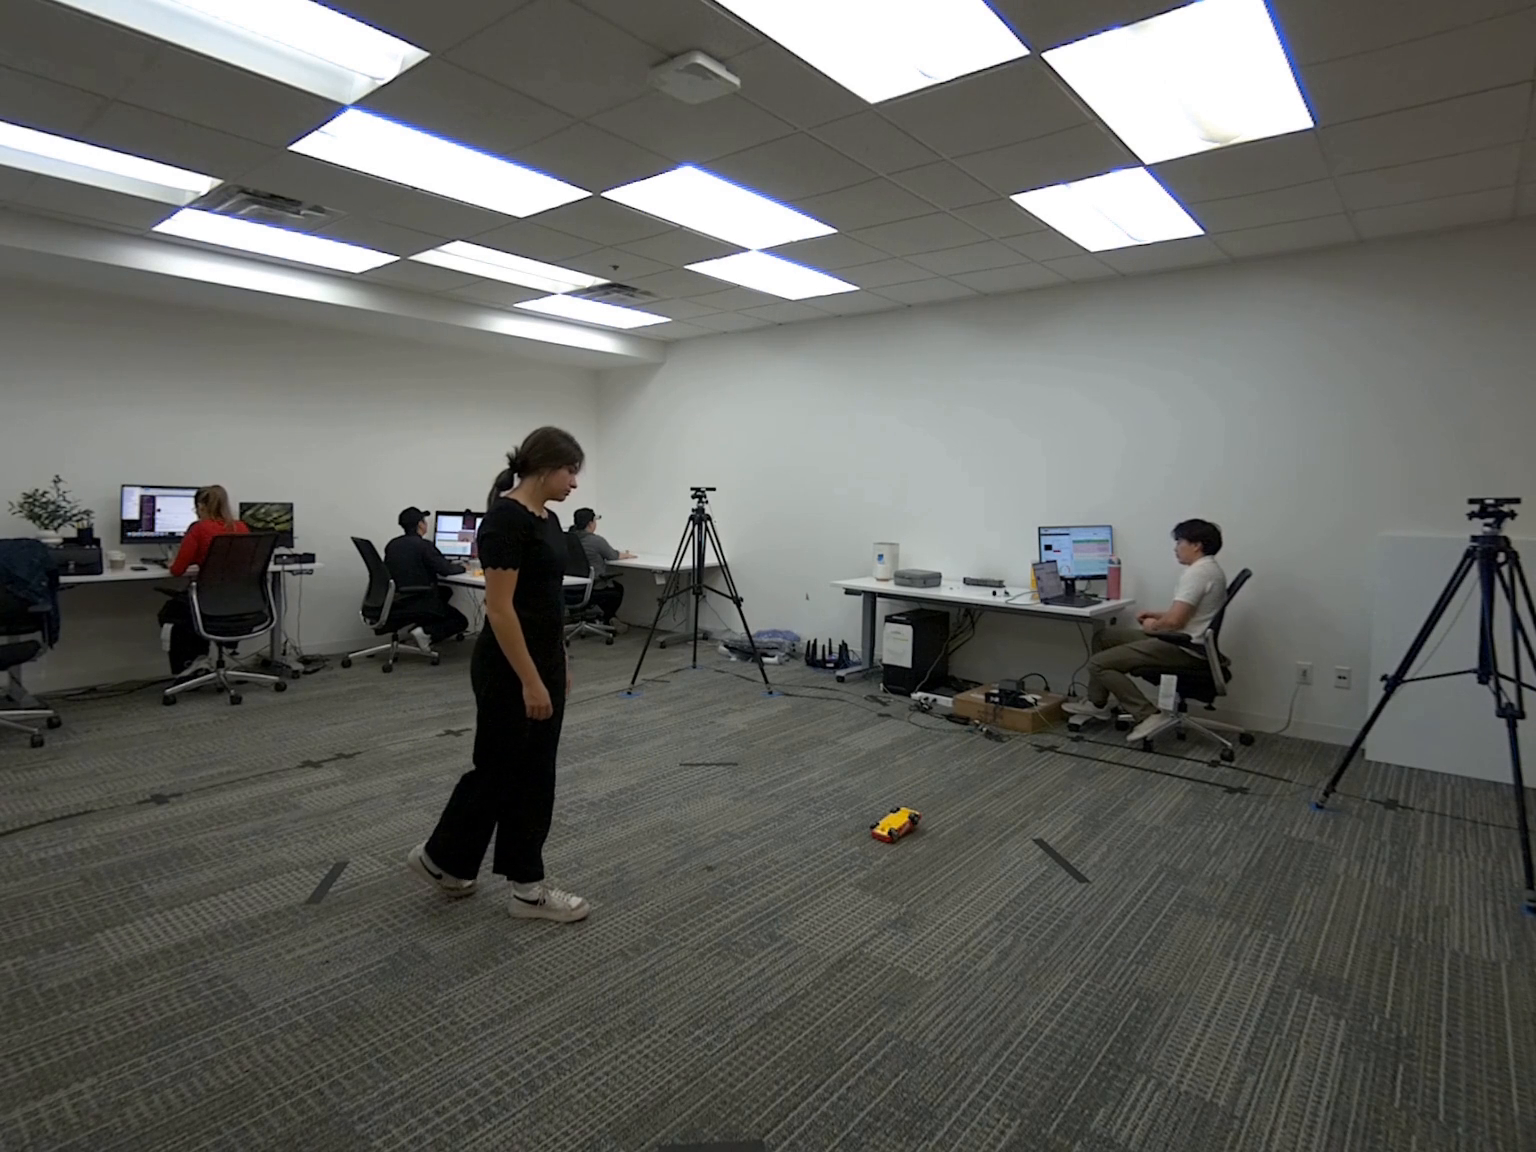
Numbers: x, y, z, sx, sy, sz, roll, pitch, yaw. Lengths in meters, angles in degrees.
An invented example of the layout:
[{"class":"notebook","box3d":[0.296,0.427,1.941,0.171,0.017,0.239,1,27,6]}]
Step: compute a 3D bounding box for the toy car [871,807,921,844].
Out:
[{"class":"toy car","box3d":[0.521,1.005,3.479,0.135,0.083,0.247,5,6,44]}]
